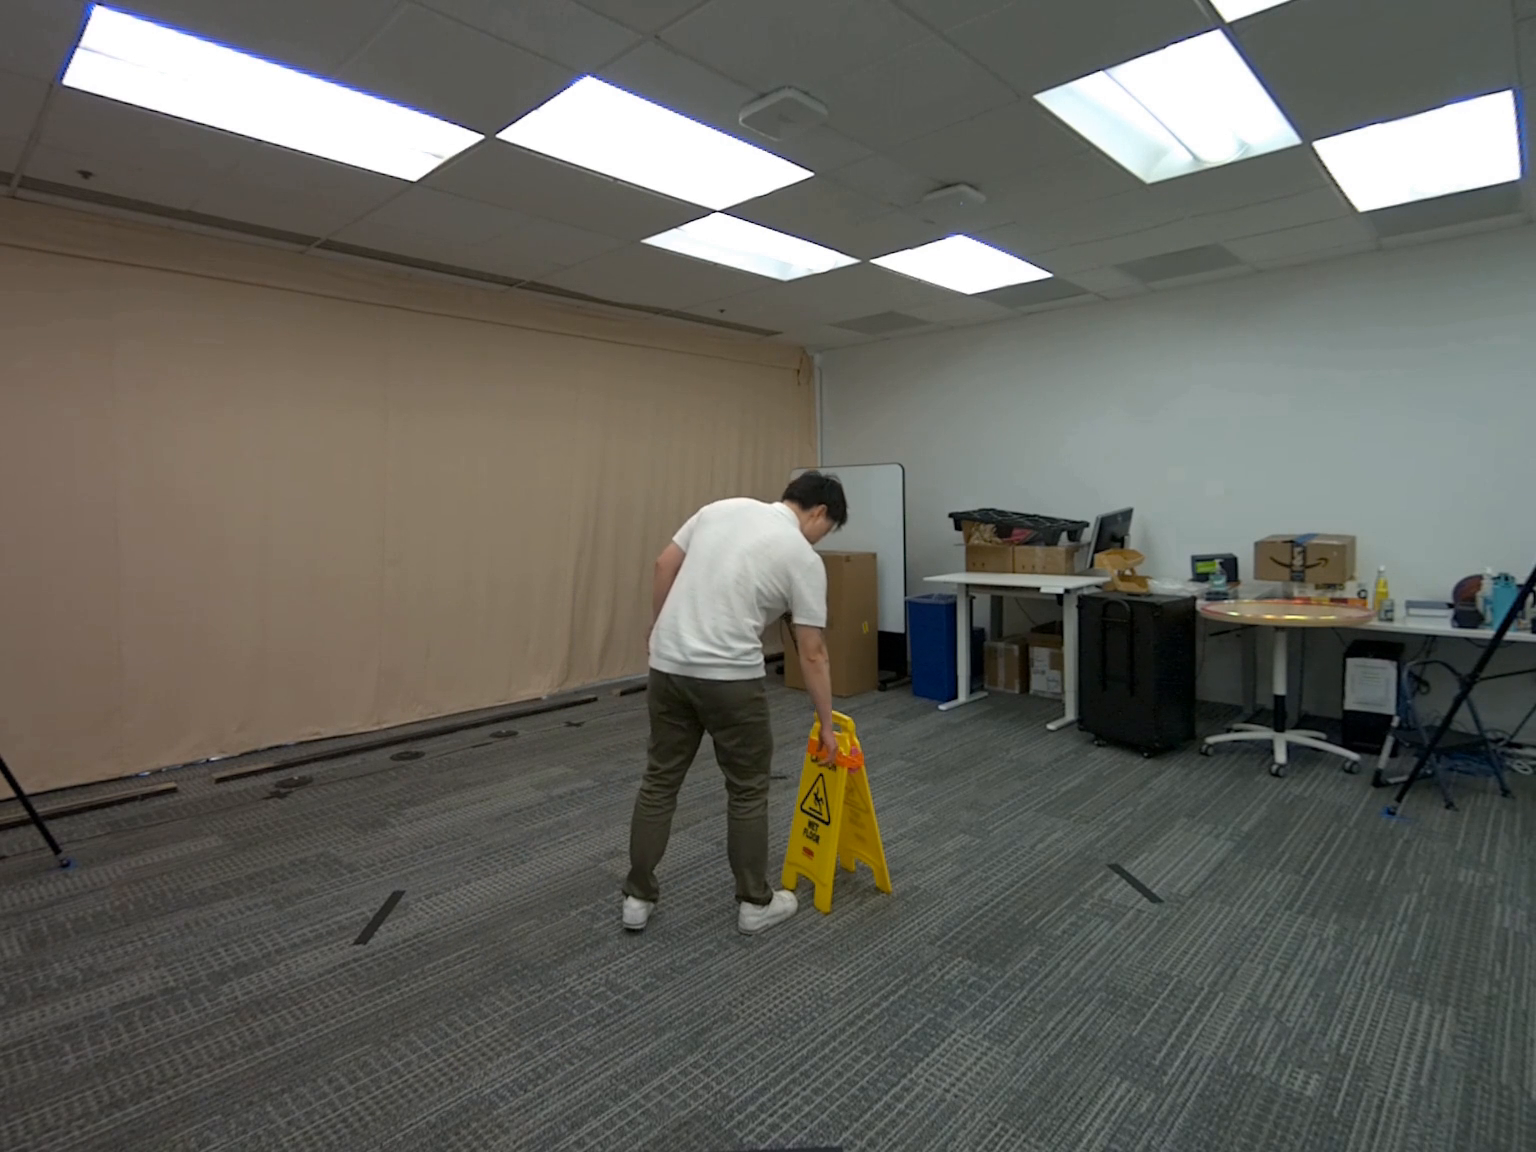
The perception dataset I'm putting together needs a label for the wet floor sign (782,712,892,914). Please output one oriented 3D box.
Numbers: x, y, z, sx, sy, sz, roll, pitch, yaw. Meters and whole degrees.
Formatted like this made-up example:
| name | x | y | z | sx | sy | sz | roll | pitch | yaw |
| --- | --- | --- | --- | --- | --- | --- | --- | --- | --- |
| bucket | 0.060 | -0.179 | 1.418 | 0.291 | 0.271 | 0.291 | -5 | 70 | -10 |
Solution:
| name | x | y | z | sx | sy | sz | roll | pitch | yaw |
| --- | --- | --- | --- | --- | --- | --- | --- | --- | --- |
| wet floor sign | 0.242 | 0.806 | 3.023 | 0.282 | 0.645 | 0.291 | -3 | 4 | -32 |
